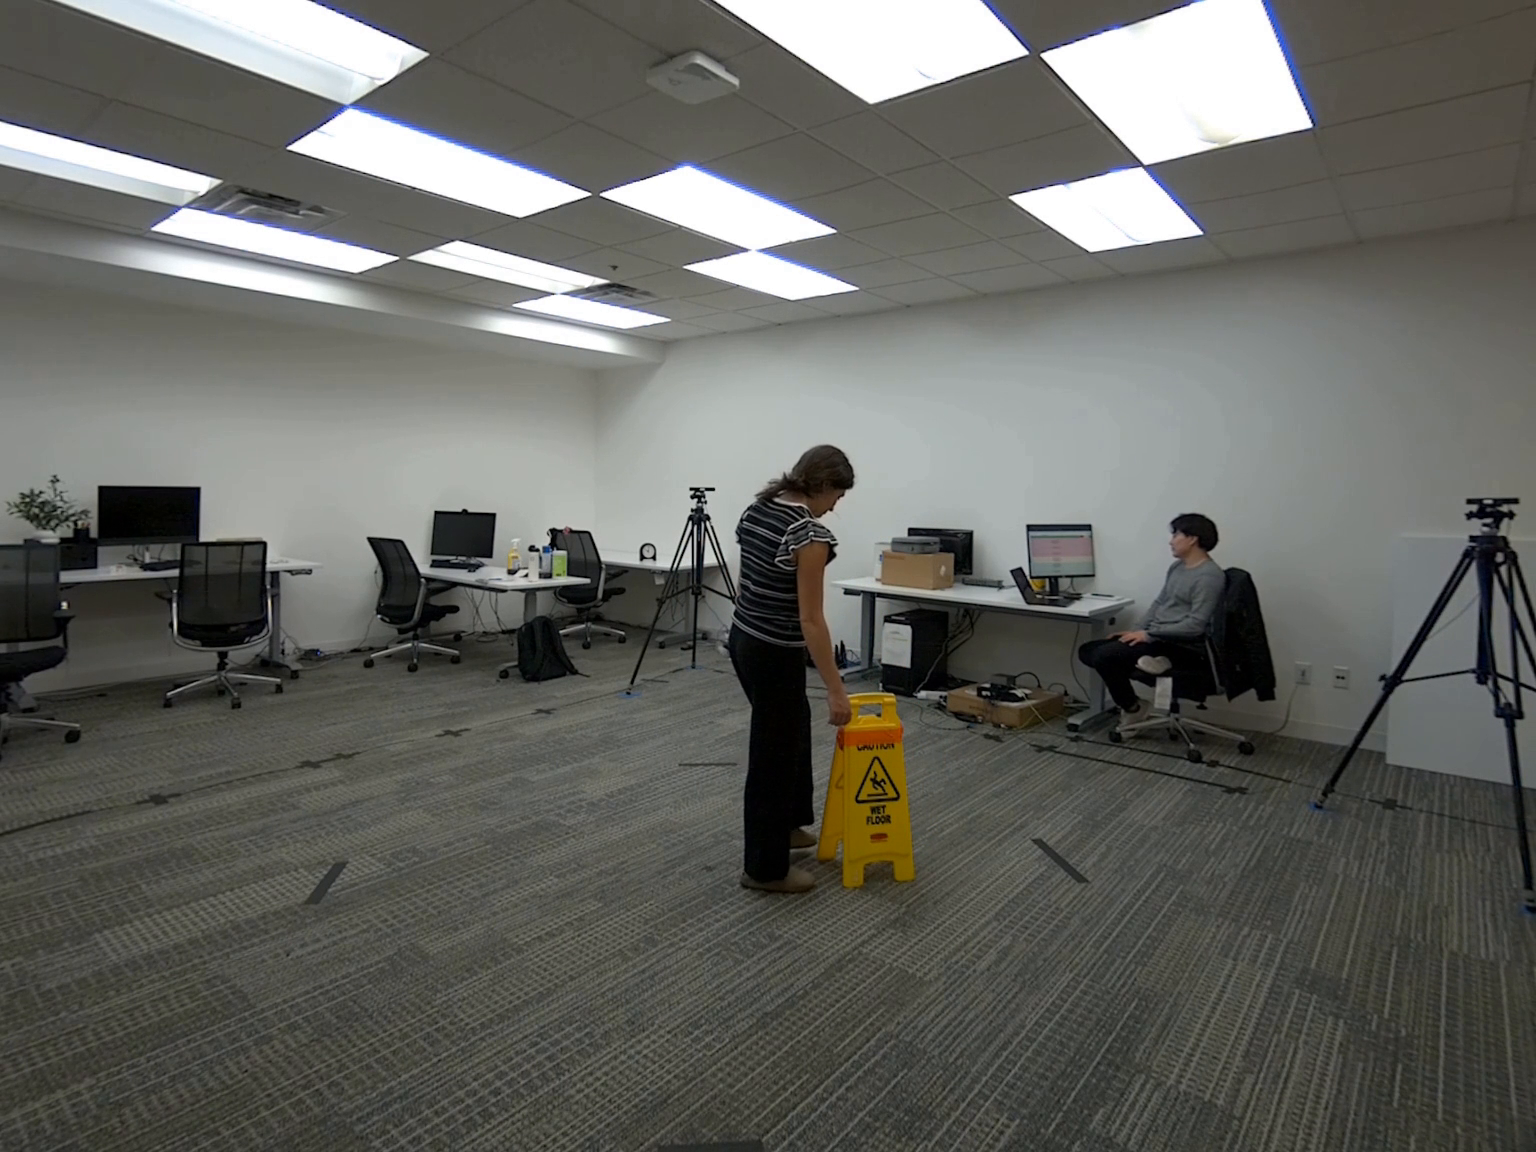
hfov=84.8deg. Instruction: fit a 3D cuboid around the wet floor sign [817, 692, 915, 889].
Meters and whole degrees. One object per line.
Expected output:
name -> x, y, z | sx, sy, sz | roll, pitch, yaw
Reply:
wet floor sign -> 0.358, 0.756, 3.111 | 0.277, 0.643, 0.296 | 0, 5, -18
